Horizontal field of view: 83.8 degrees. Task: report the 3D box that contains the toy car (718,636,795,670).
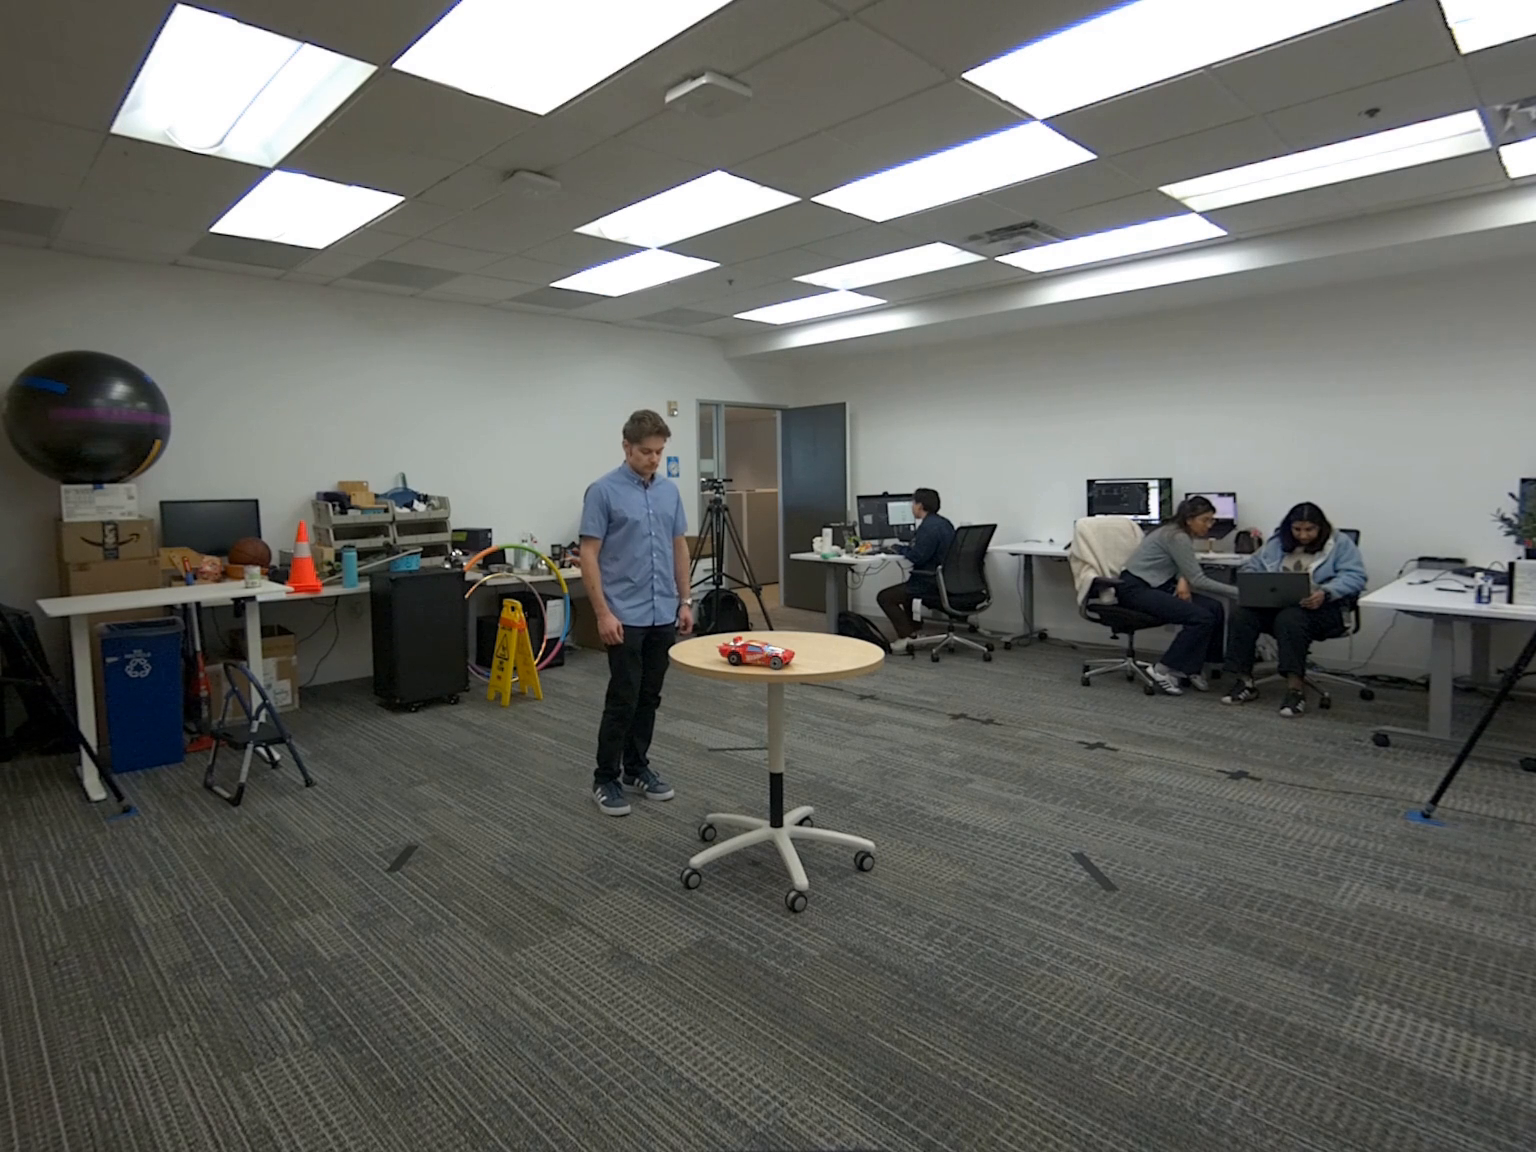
[{"bbox_3d":[-0.039,0.261,2.828,0.261,0.082,0.128,14,10,22],"label":"toy car"}]
